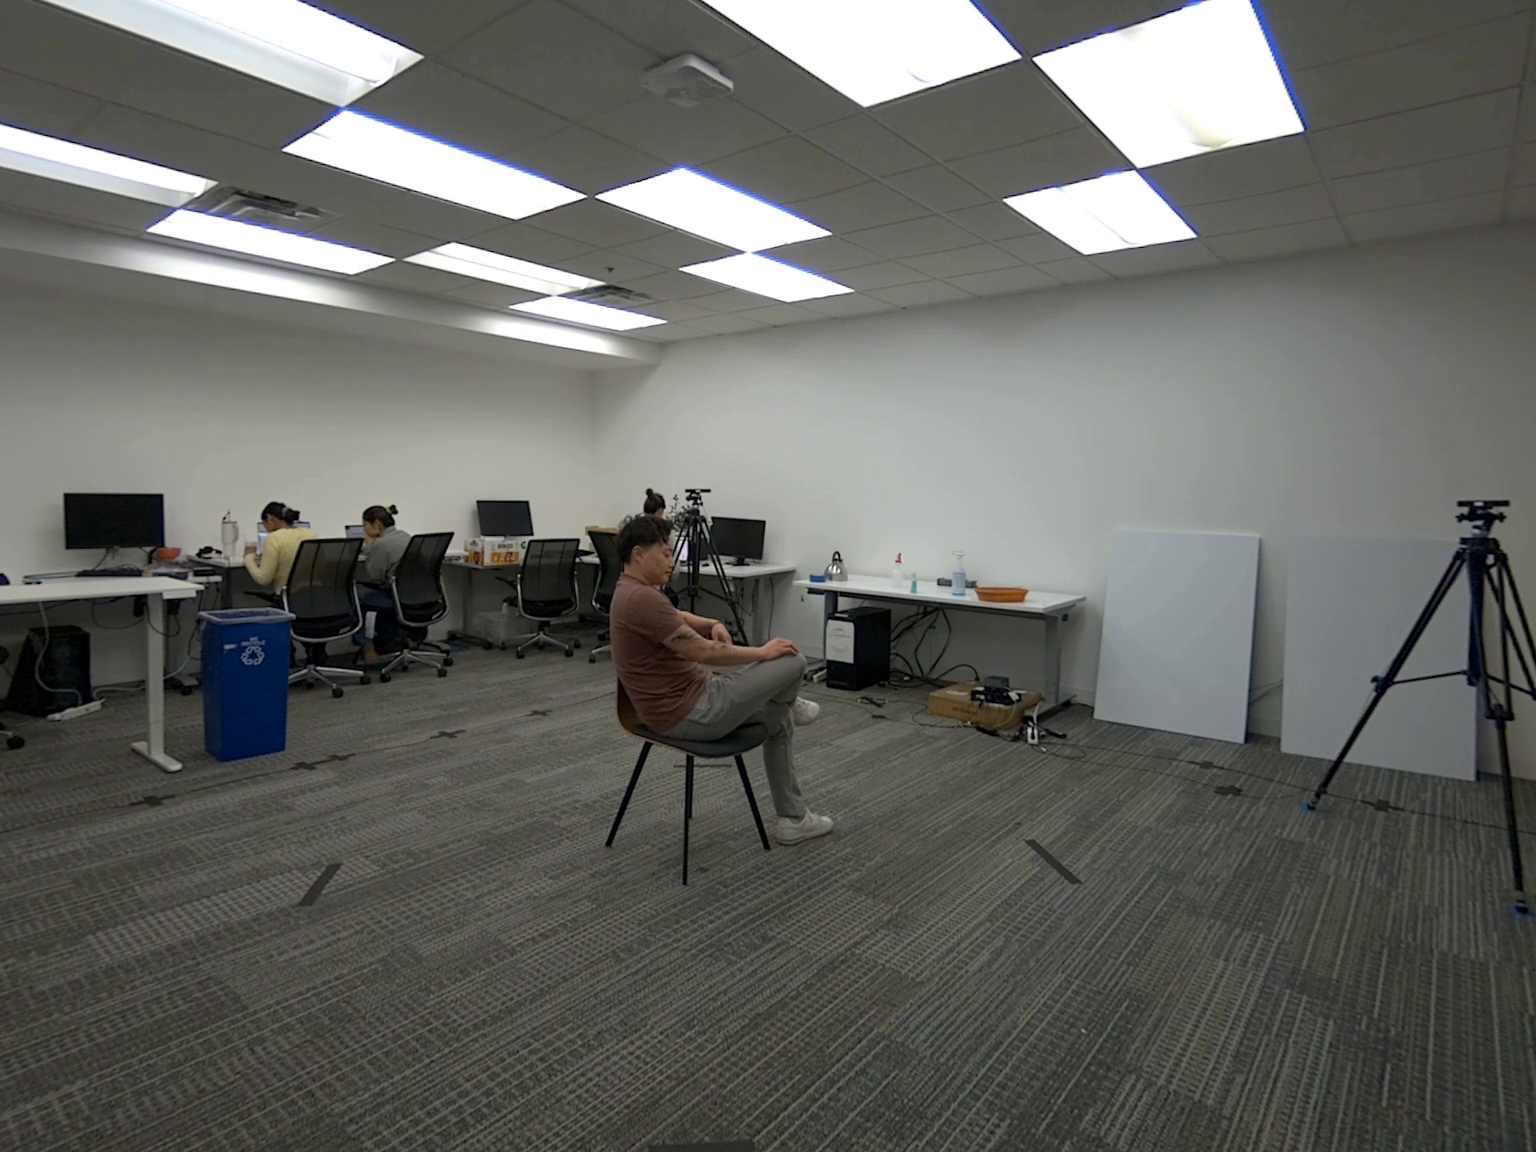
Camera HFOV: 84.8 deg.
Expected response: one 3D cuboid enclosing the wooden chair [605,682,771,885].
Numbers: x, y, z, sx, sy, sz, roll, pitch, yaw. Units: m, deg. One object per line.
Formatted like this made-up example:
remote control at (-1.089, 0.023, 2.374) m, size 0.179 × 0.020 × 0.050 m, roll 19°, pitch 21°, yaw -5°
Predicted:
wooden chair at (-0.309, 0.631, 3.268) m, size 0.539 × 0.877 × 0.463 m, roll -2°, pitch 0°, yaw 44°
